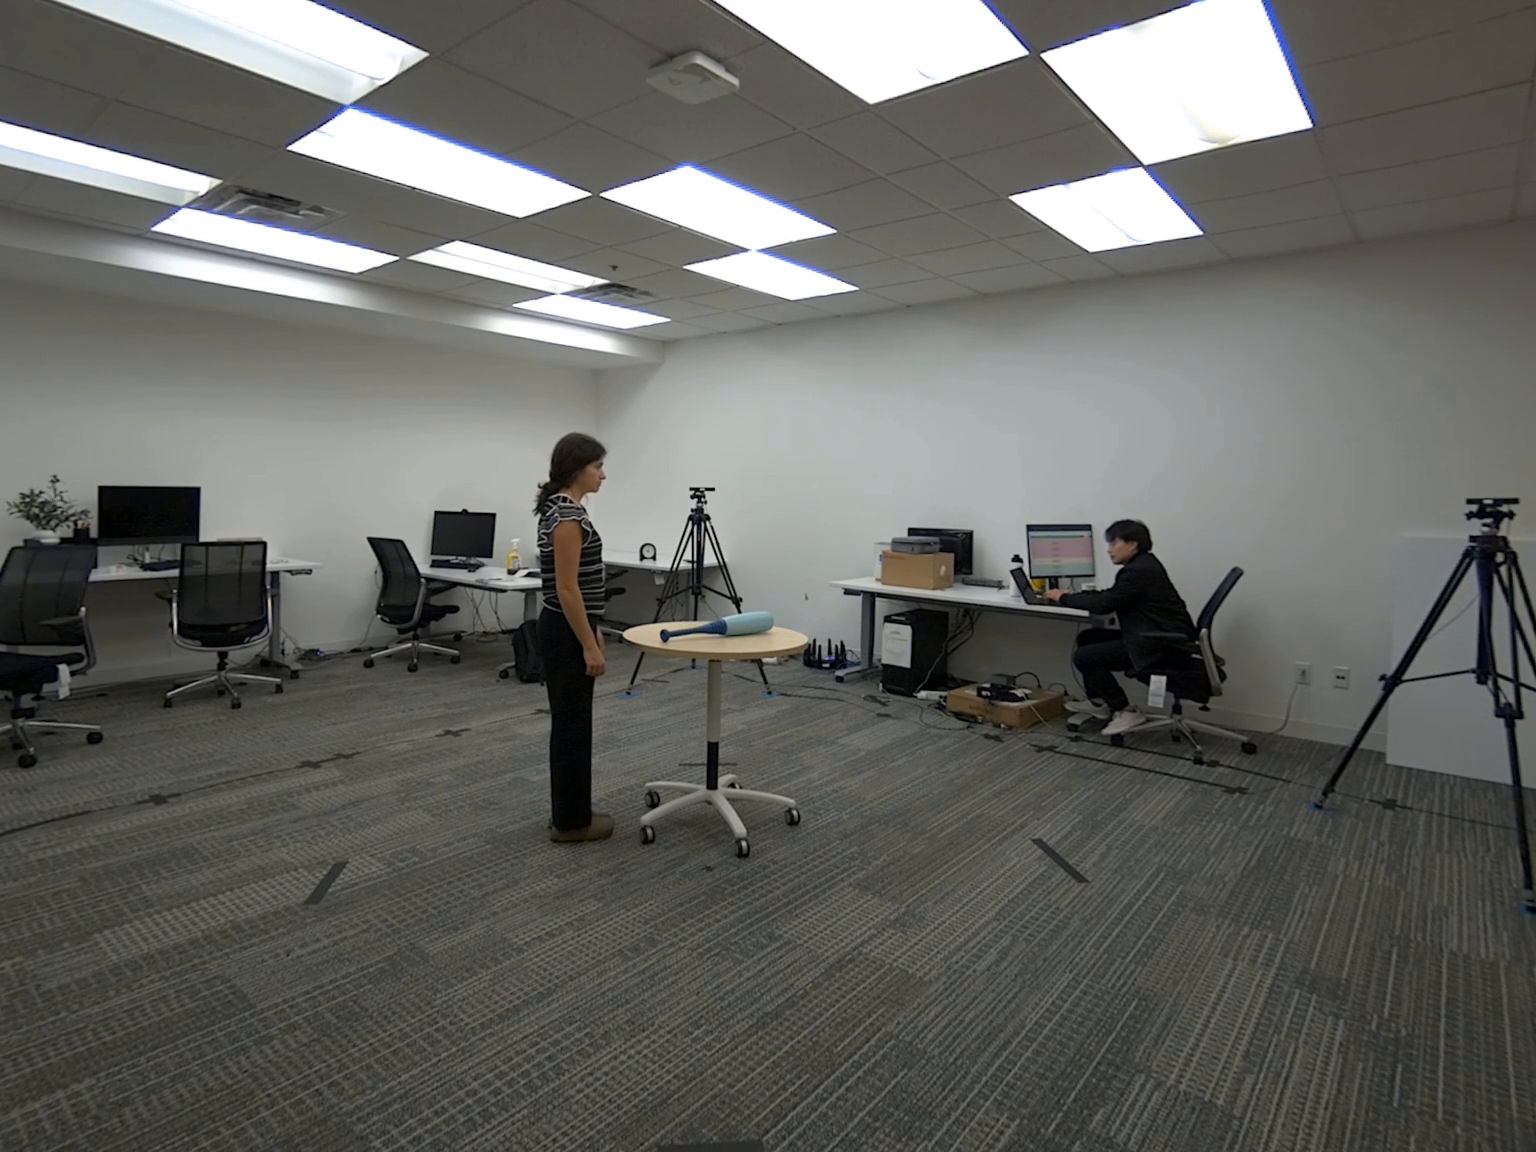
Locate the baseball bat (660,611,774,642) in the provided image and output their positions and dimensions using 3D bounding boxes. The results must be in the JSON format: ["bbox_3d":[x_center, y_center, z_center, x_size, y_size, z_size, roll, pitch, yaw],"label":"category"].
[{"bbox_3d":[-0.219,0.215,3.478,0.528,0.088,0.092,-6,7,-36],"label":"baseball bat"}]
